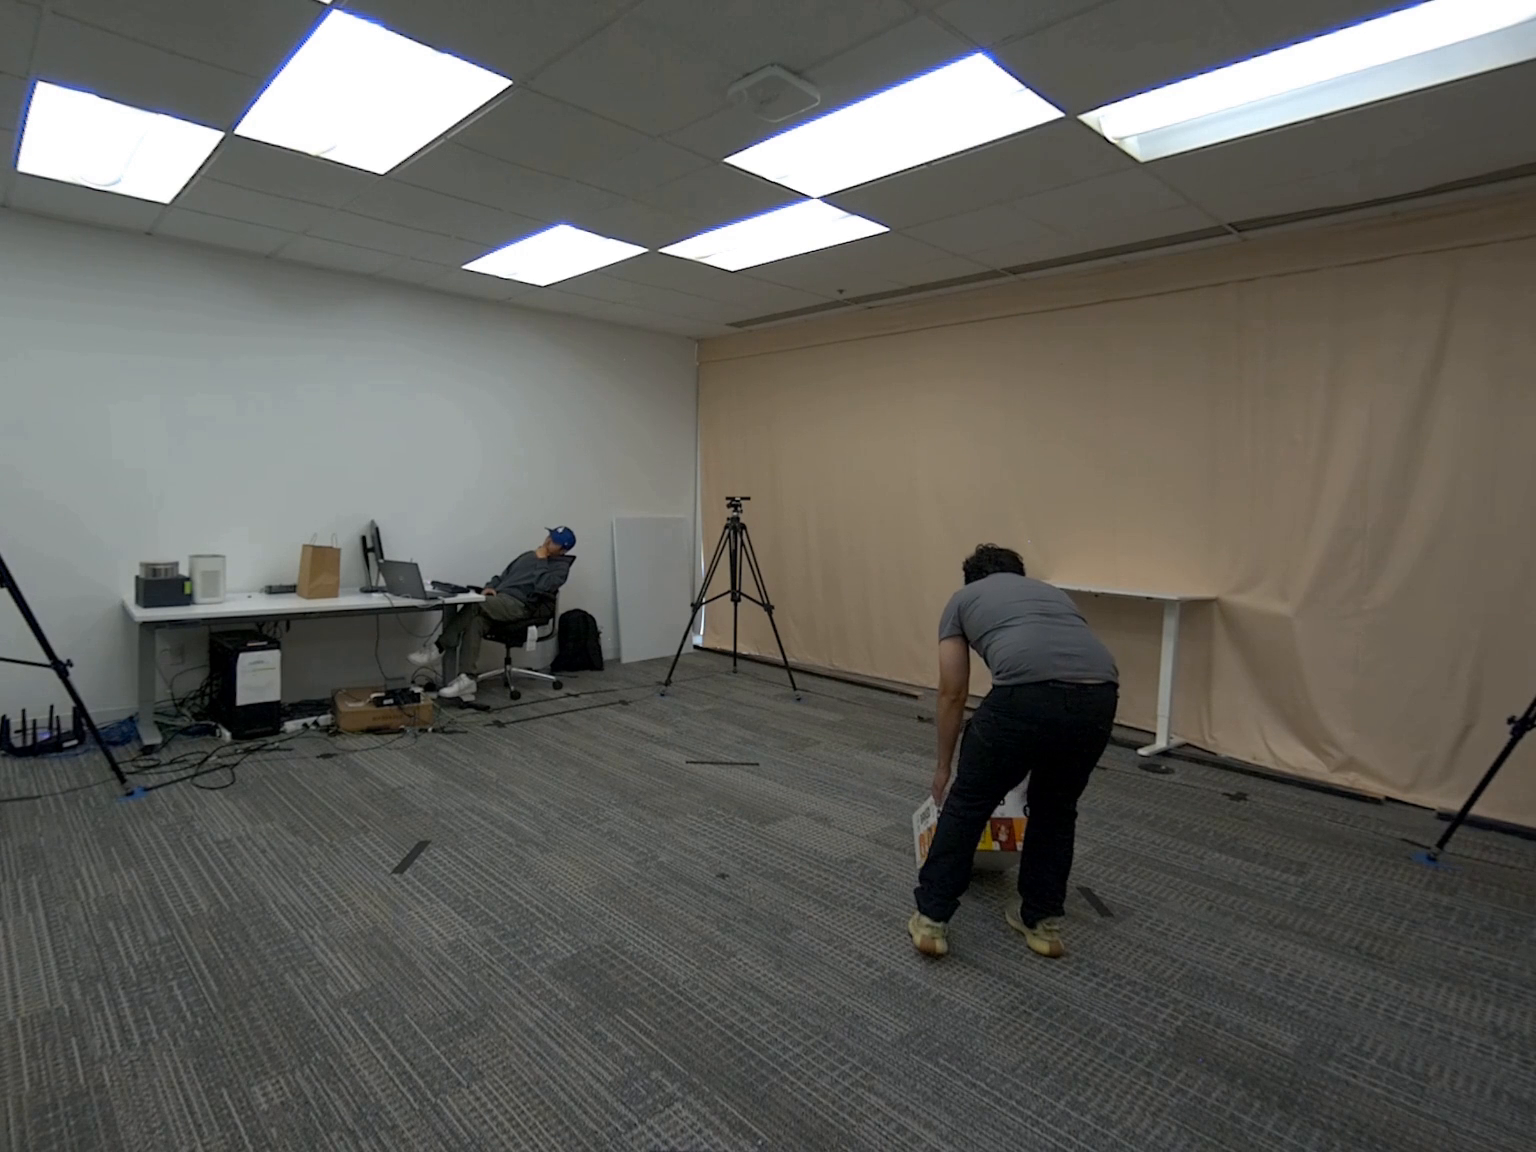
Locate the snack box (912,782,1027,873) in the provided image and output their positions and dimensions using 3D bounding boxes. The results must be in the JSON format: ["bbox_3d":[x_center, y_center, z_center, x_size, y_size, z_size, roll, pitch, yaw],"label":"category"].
[{"bbox_3d":[0.745,0.938,3.082,0.340,0.209,0.398,2,-29,-2],"label":"snack box"}]
